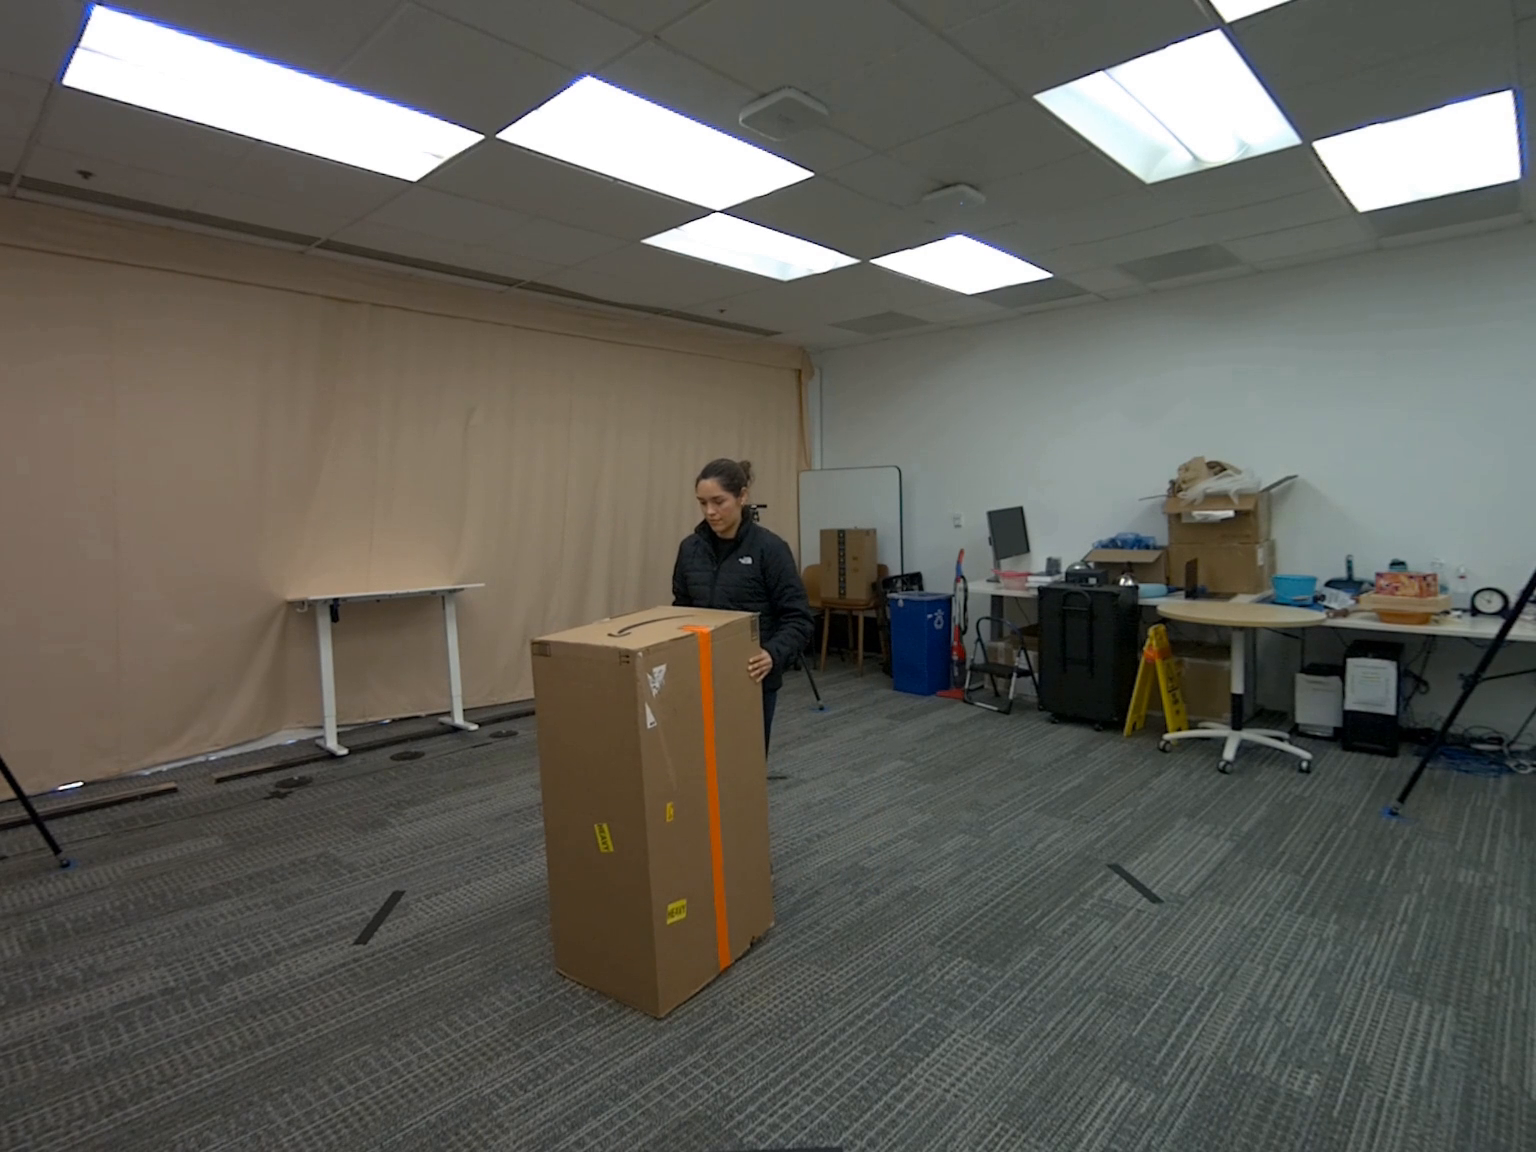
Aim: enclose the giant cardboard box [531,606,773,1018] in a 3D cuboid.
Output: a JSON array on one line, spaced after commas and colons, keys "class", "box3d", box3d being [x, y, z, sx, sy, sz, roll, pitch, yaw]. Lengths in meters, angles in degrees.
[{"class": "giant cardboard box", "box3d": [-0.324, 0.663, 2.579, 0.439, 1.022, 0.562, 0, 6, 37]}]
